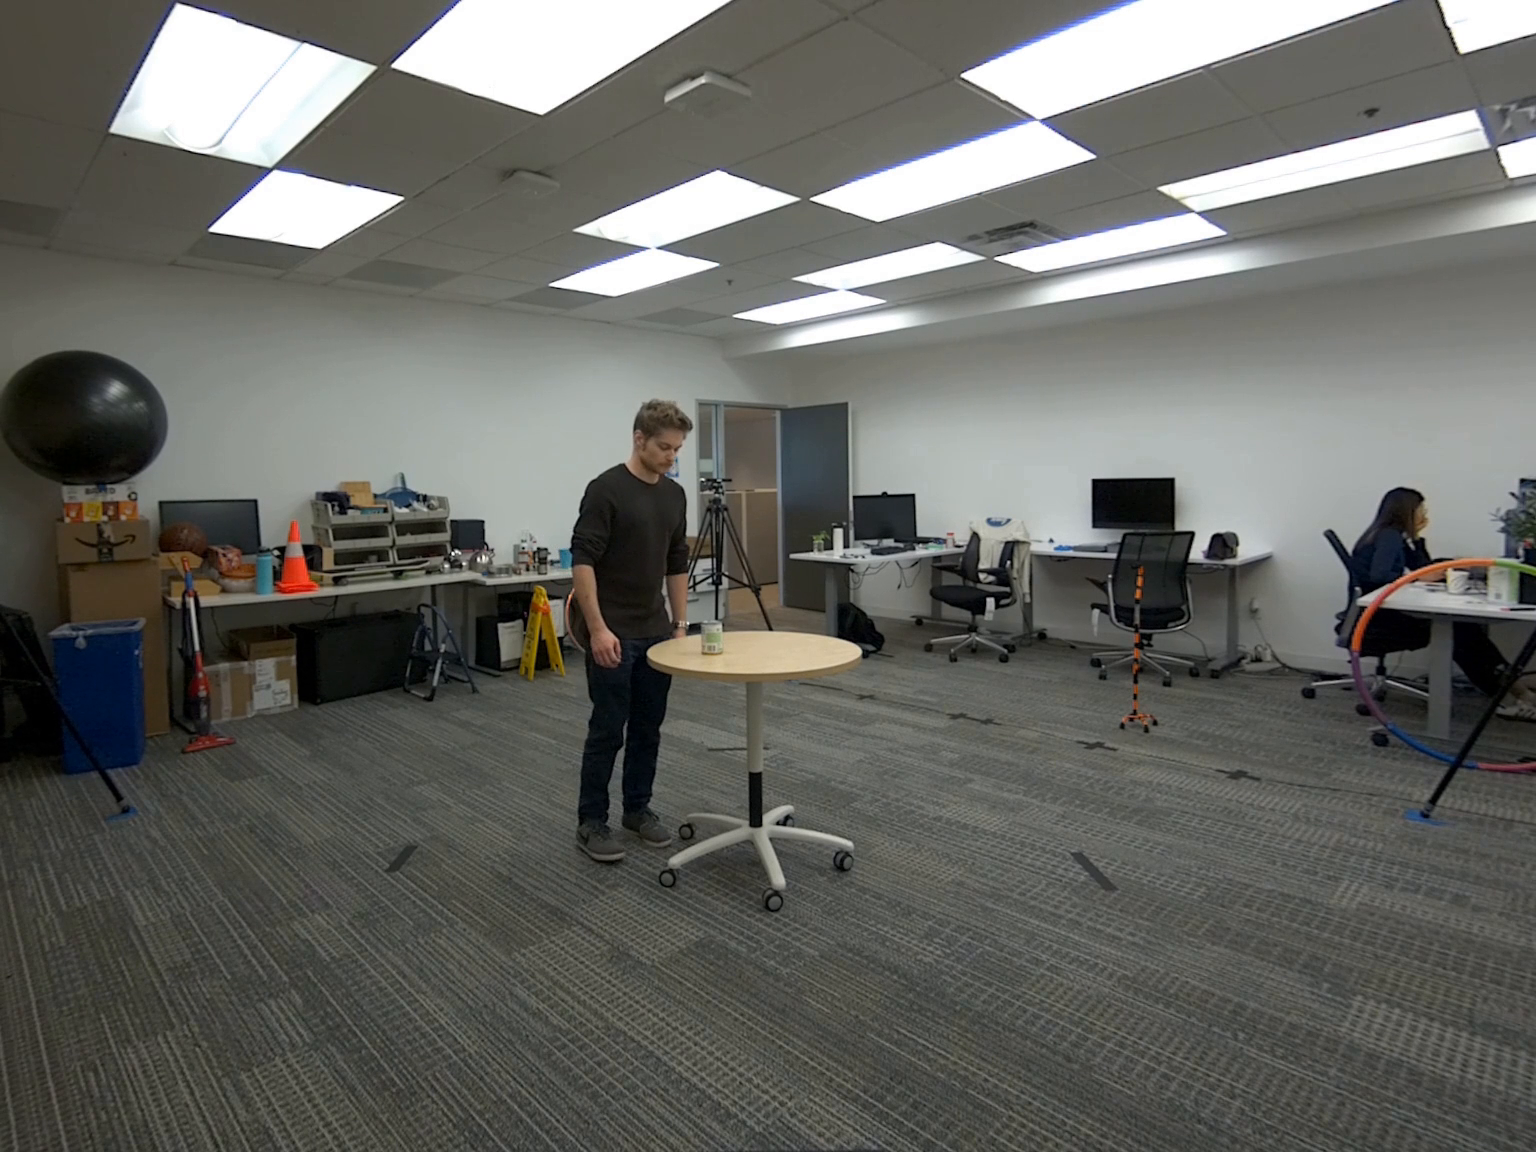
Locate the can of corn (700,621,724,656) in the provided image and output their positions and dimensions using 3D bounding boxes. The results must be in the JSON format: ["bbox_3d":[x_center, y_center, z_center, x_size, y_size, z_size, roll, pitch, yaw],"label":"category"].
[{"bbox_3d":[-0.199,0.222,2.996,0.074,0.110,0.075,-3,7,-1],"label":"can of corn"}]
